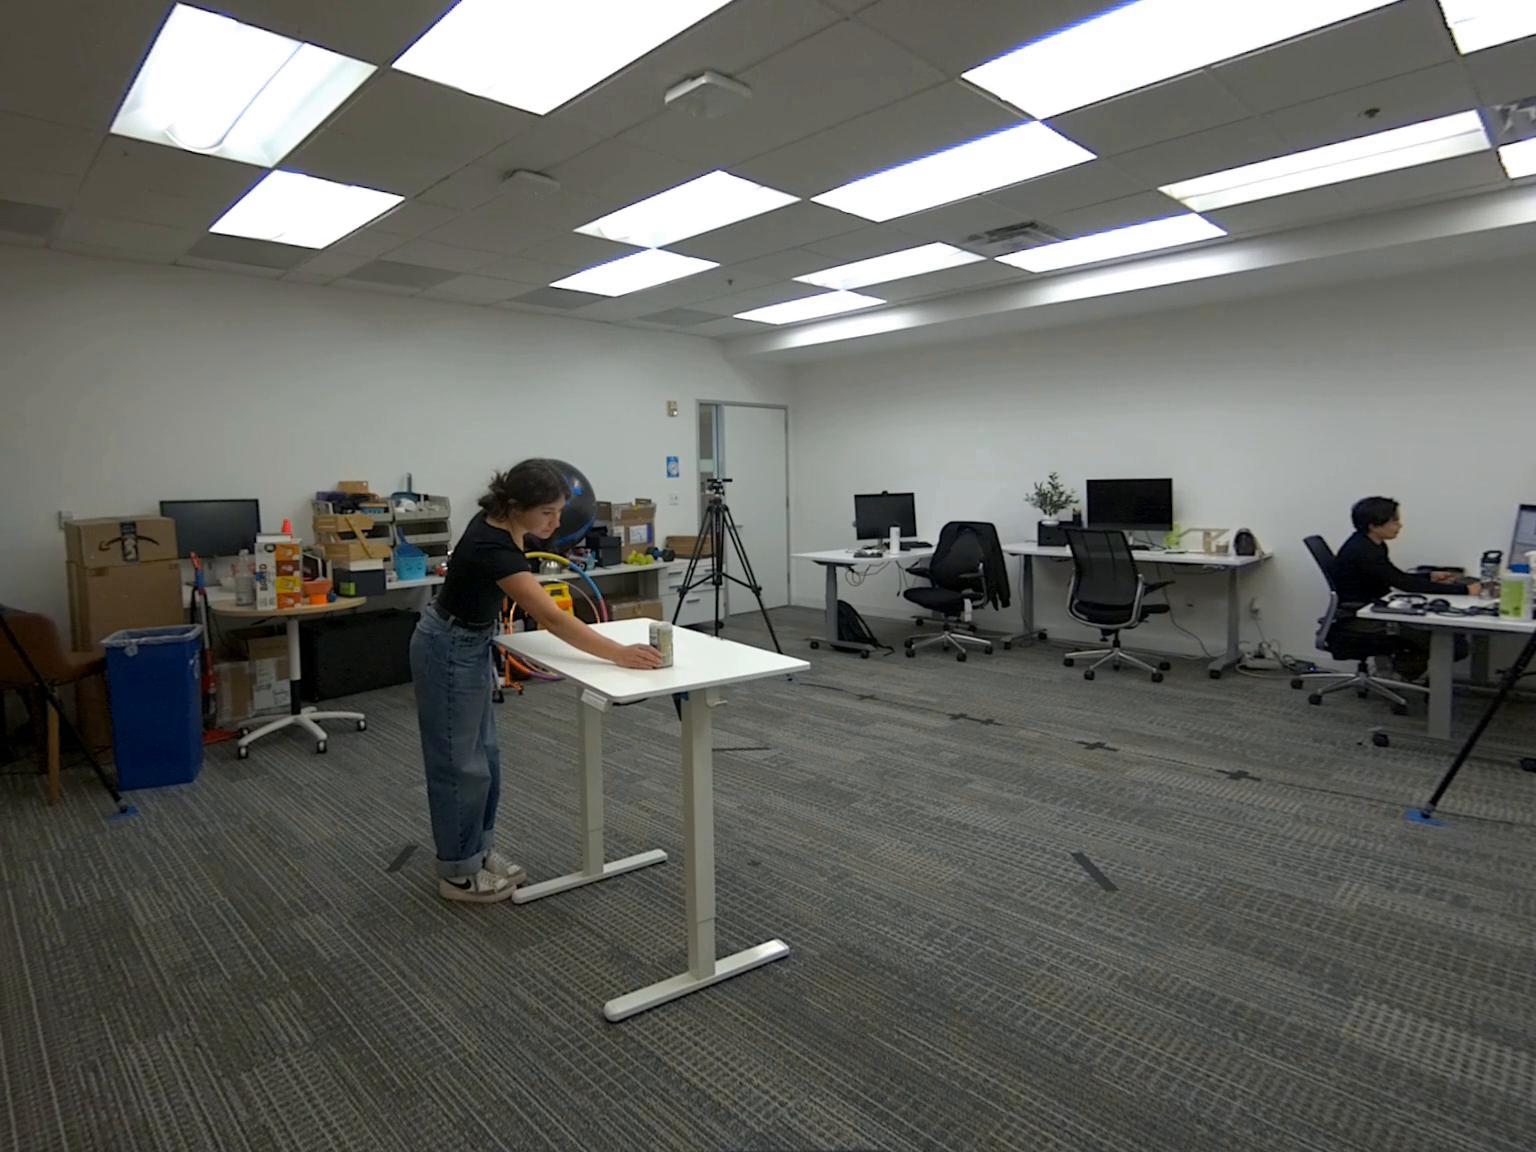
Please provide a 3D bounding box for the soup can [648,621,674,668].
[{"bbox_3d":[-0.286,0.187,2.371,0.067,0.121,0.067,-1,3,-2],"label":"soup can"}]
